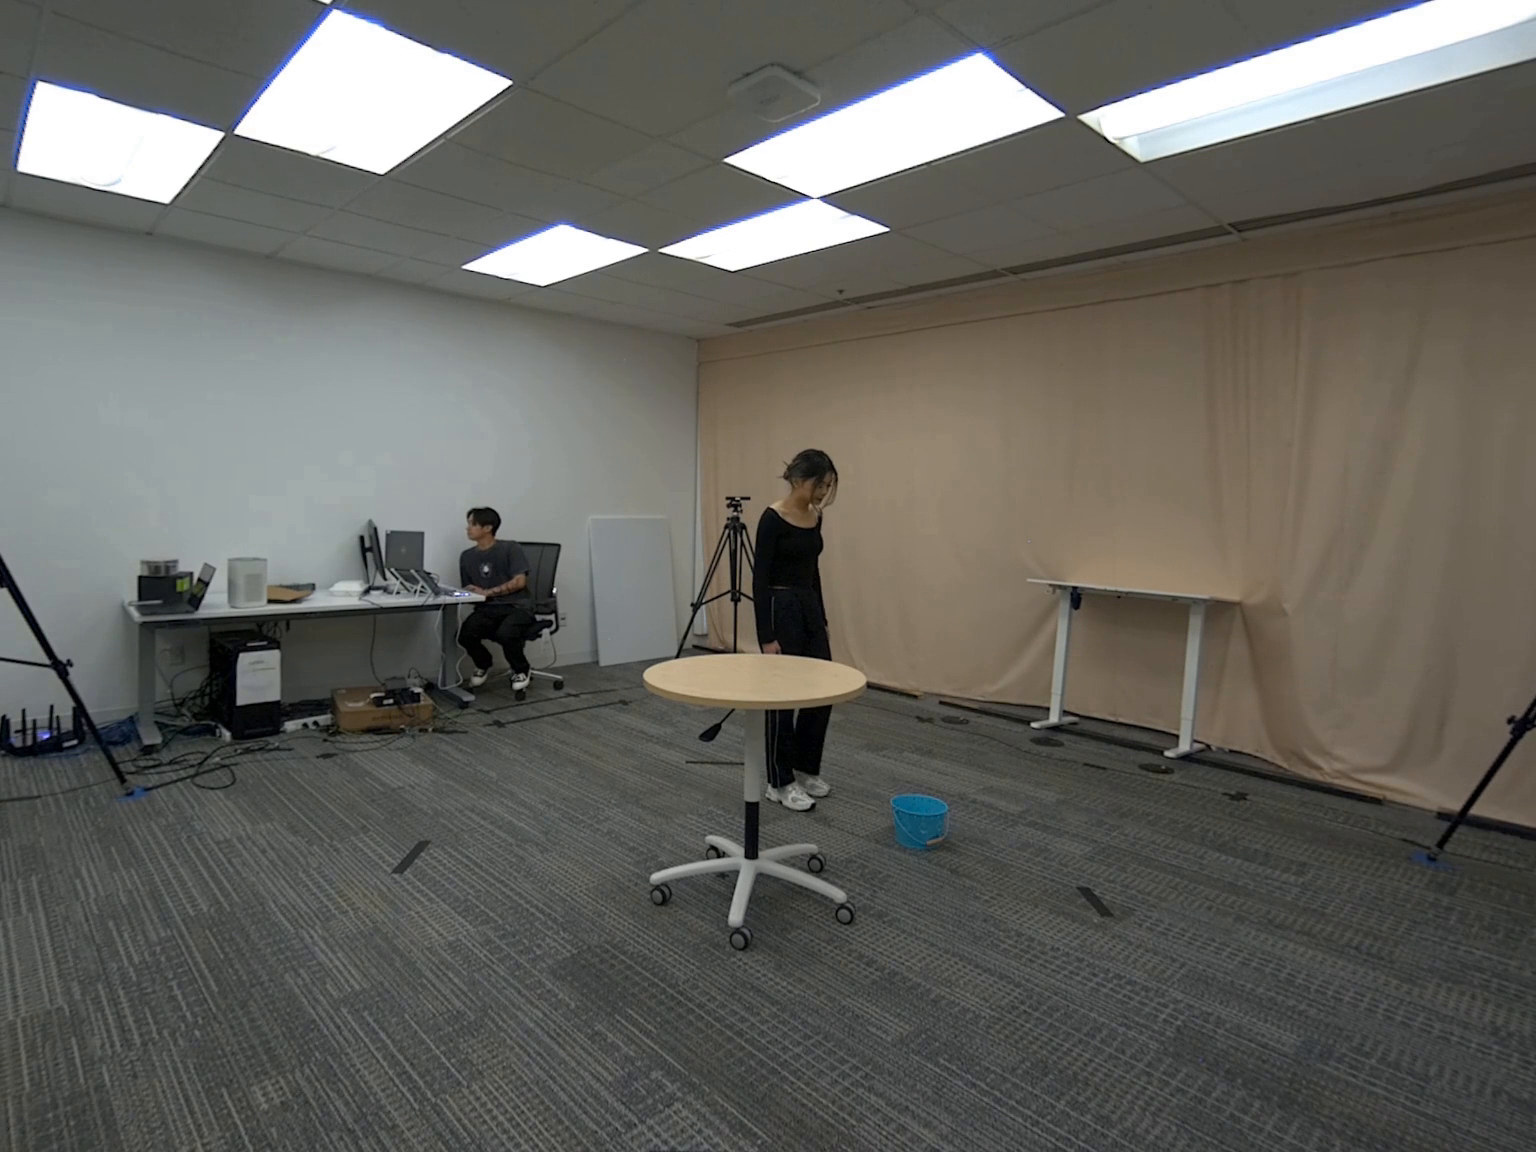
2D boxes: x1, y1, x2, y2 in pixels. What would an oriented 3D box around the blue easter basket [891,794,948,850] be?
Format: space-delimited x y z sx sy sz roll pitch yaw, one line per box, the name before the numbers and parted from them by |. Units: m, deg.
blue easter basket | 0.608 1.013 3.471 0.243 0.155 0.244 1 5 -1
